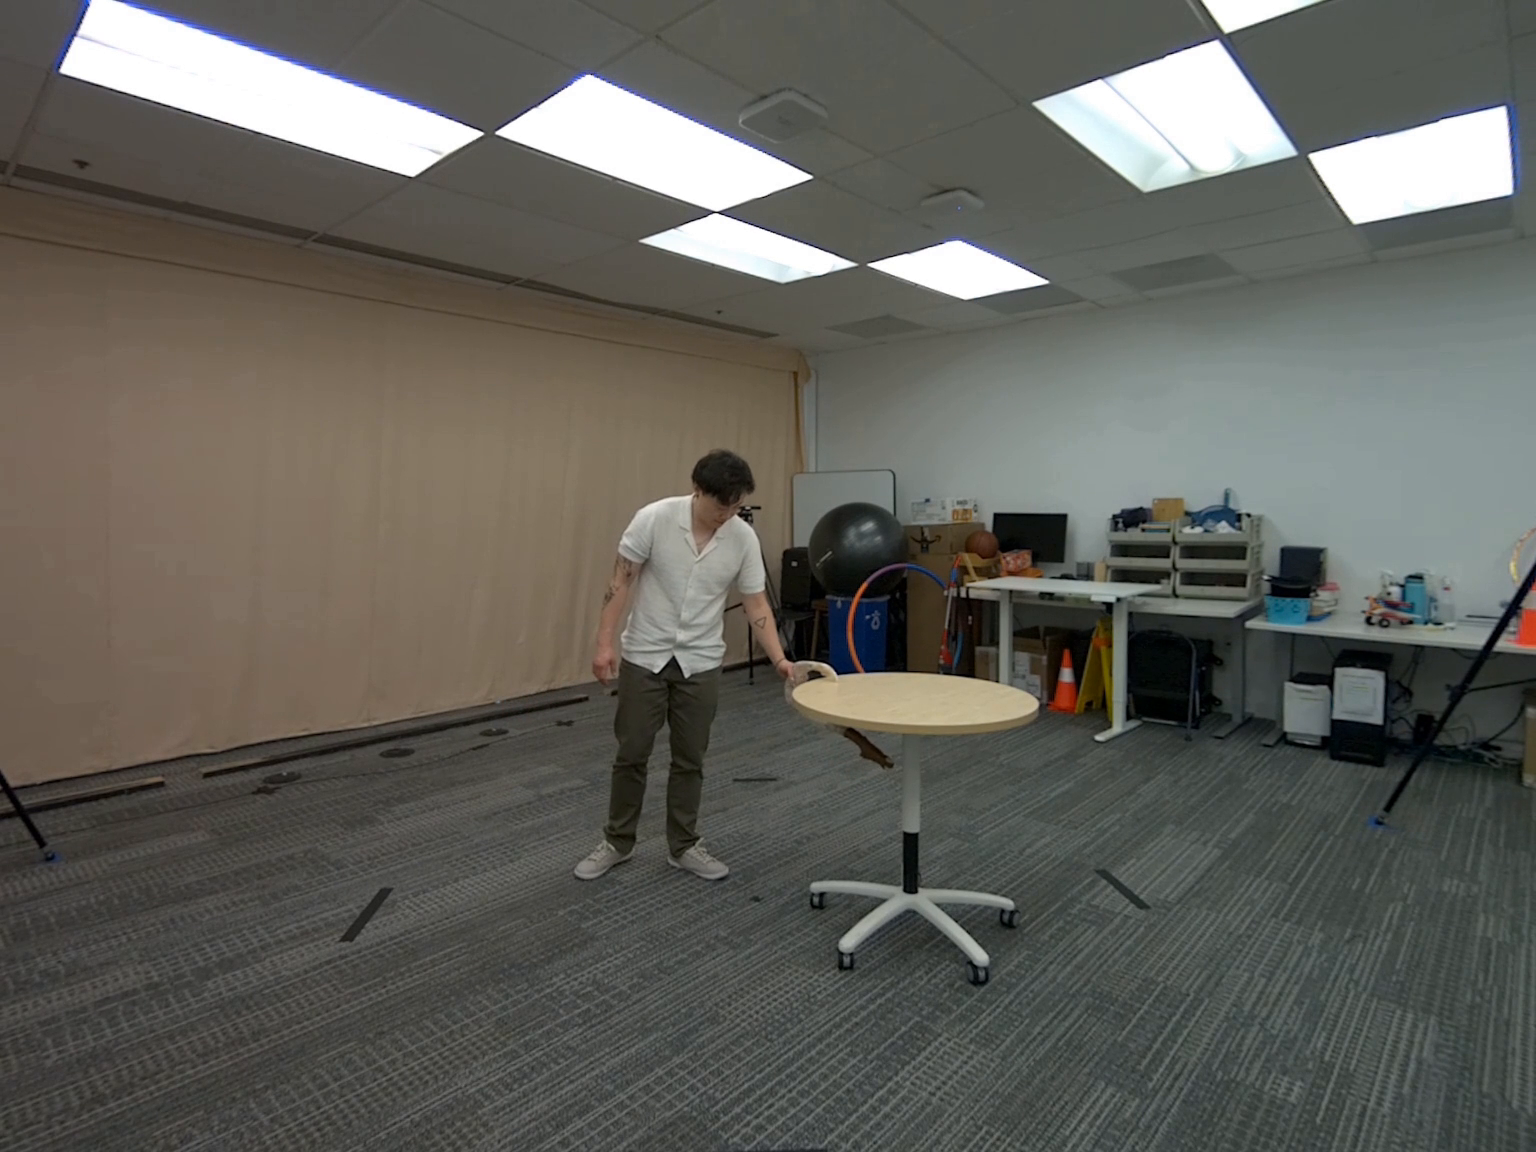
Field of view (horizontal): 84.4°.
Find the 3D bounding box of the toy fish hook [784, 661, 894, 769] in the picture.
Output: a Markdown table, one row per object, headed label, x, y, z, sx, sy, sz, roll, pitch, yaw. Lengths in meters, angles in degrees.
| label | x | y | z | sx | sy | sz | roll | pitch | yaw |
| --- | --- | --- | --- | --- | --- | --- | --- | --- | --- |
| toy fish hook | 0.256 | 0.470 | 2.903 | 0.047 | 0.224 | 0.525 | 1 | 25 | -47 |
